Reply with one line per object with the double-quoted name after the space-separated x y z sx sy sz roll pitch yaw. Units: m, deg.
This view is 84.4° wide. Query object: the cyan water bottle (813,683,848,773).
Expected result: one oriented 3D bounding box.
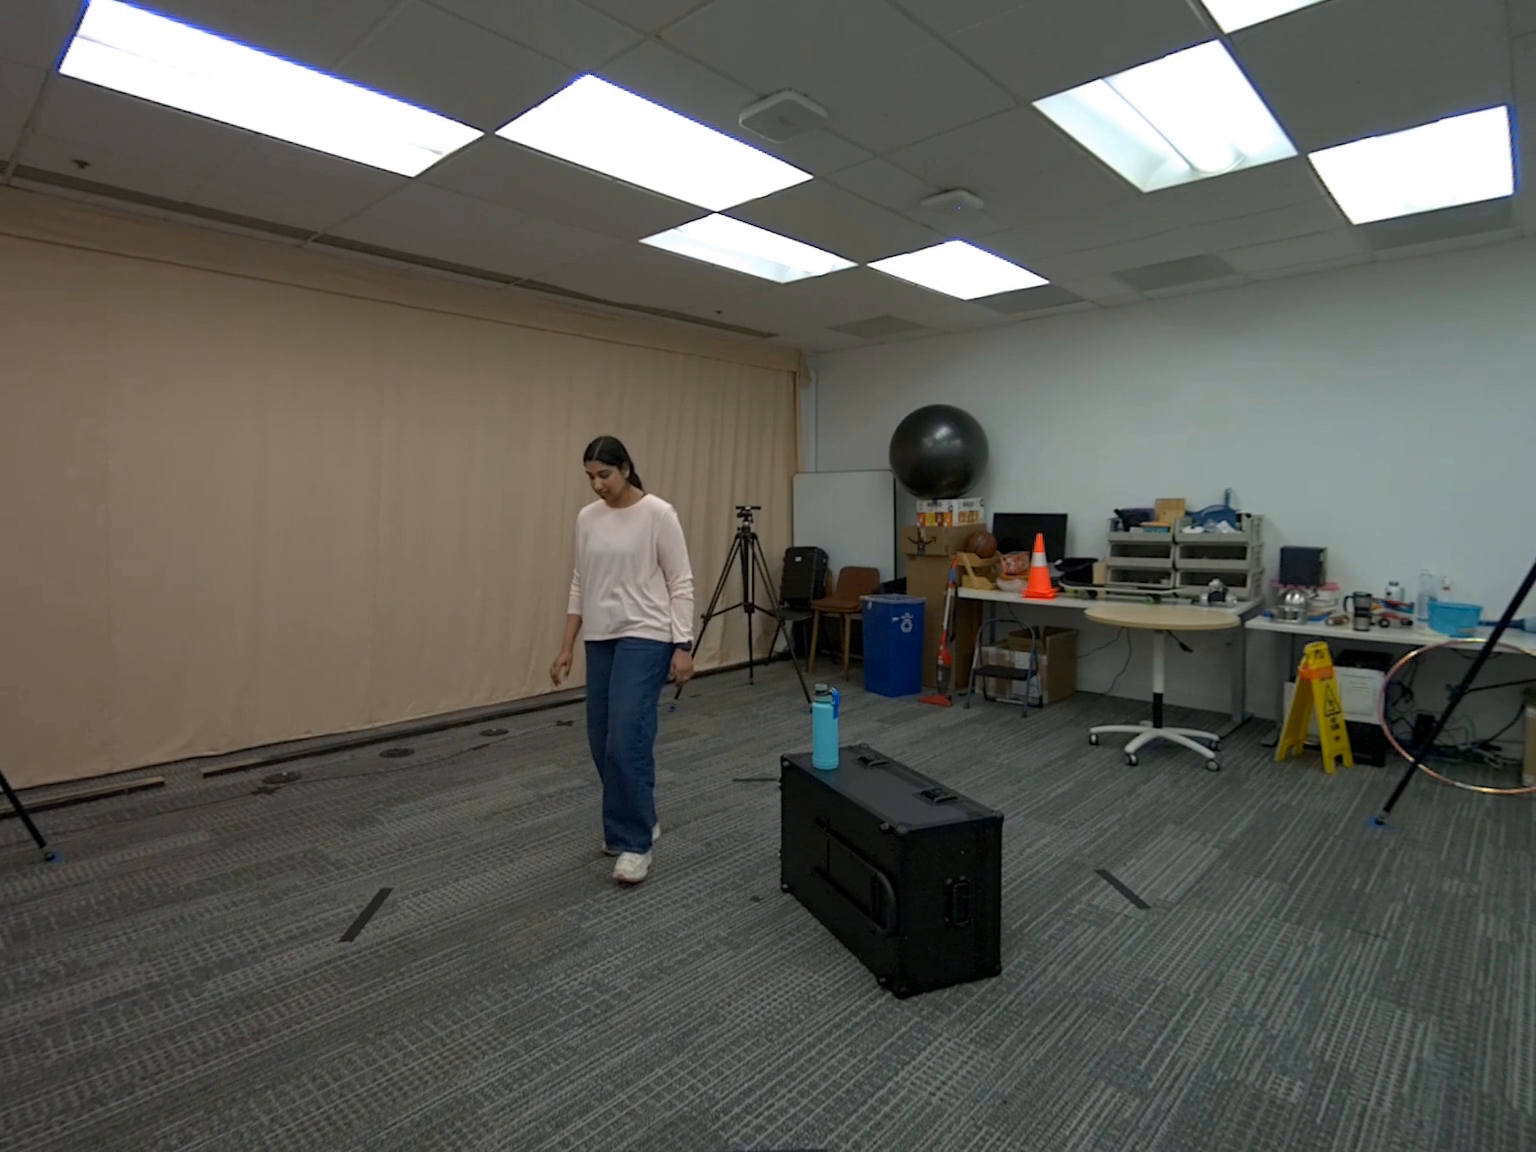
0.213 0.522 2.934 0.092 0.283 0.092 2 3 -2 "cyan water bottle"
